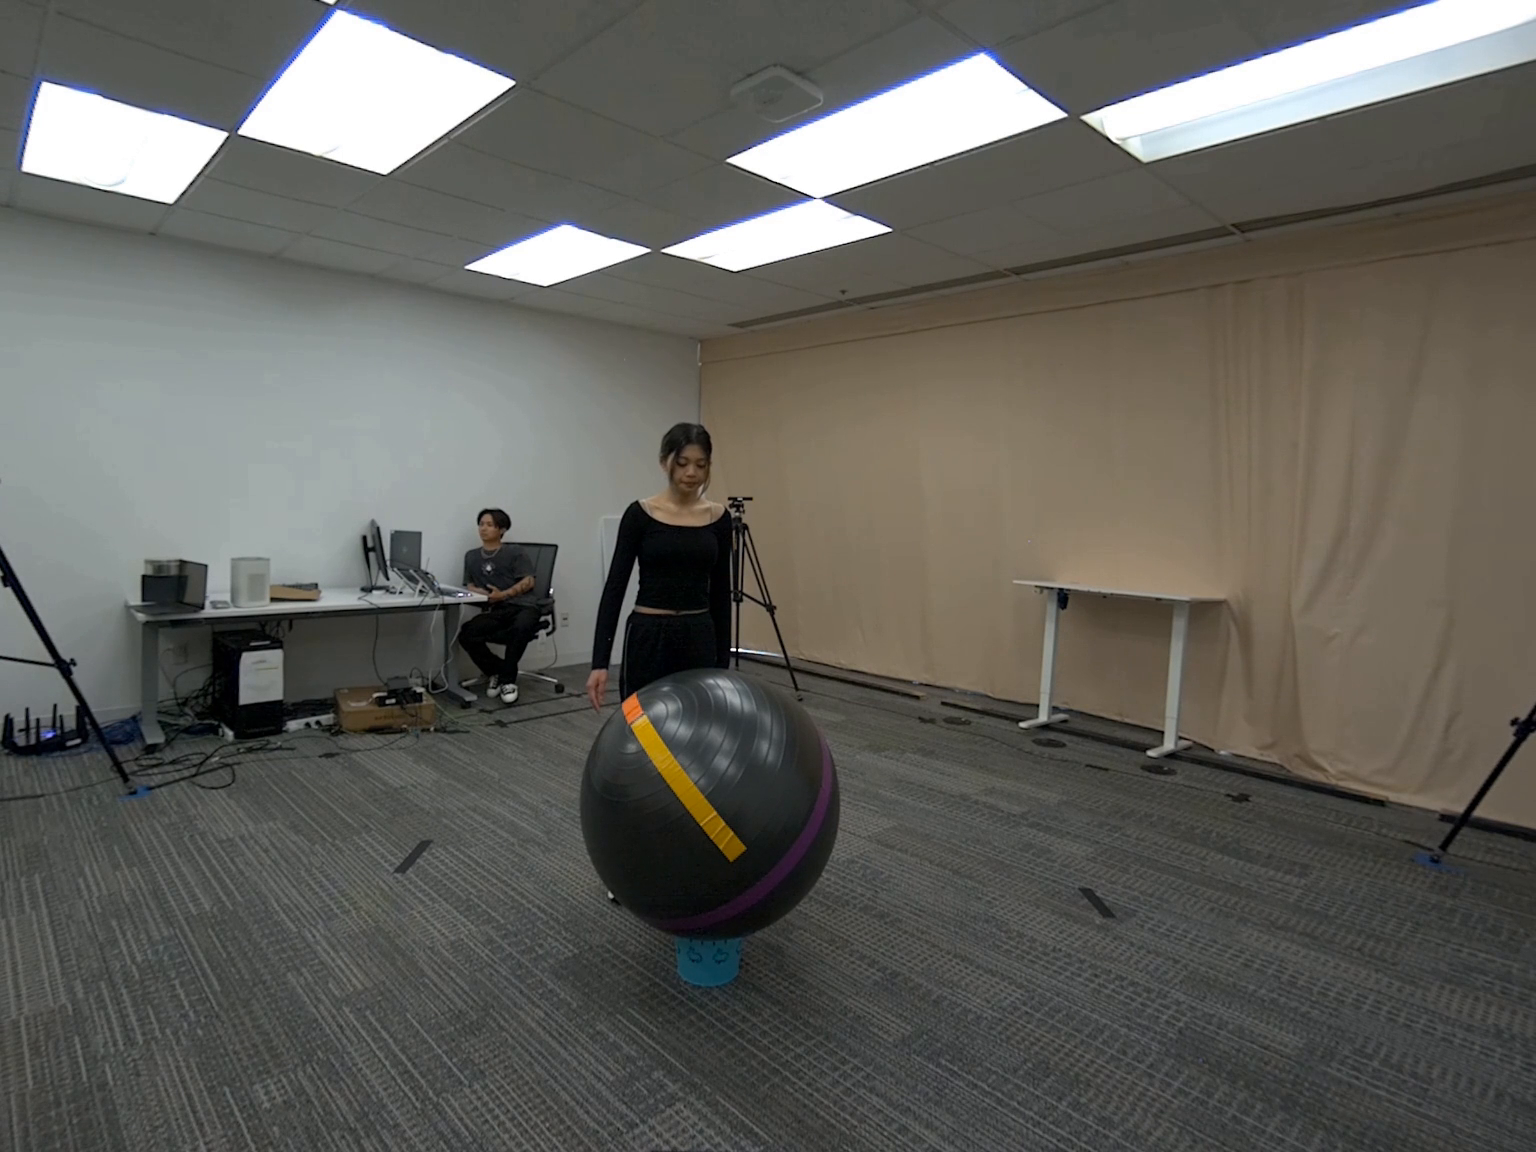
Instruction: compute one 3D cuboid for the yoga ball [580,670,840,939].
[{"bbox_3d":[-0.171,0.658,2.457,0.757,0.756,0.761,1,4,-1],"label":"yoga ball"}]
